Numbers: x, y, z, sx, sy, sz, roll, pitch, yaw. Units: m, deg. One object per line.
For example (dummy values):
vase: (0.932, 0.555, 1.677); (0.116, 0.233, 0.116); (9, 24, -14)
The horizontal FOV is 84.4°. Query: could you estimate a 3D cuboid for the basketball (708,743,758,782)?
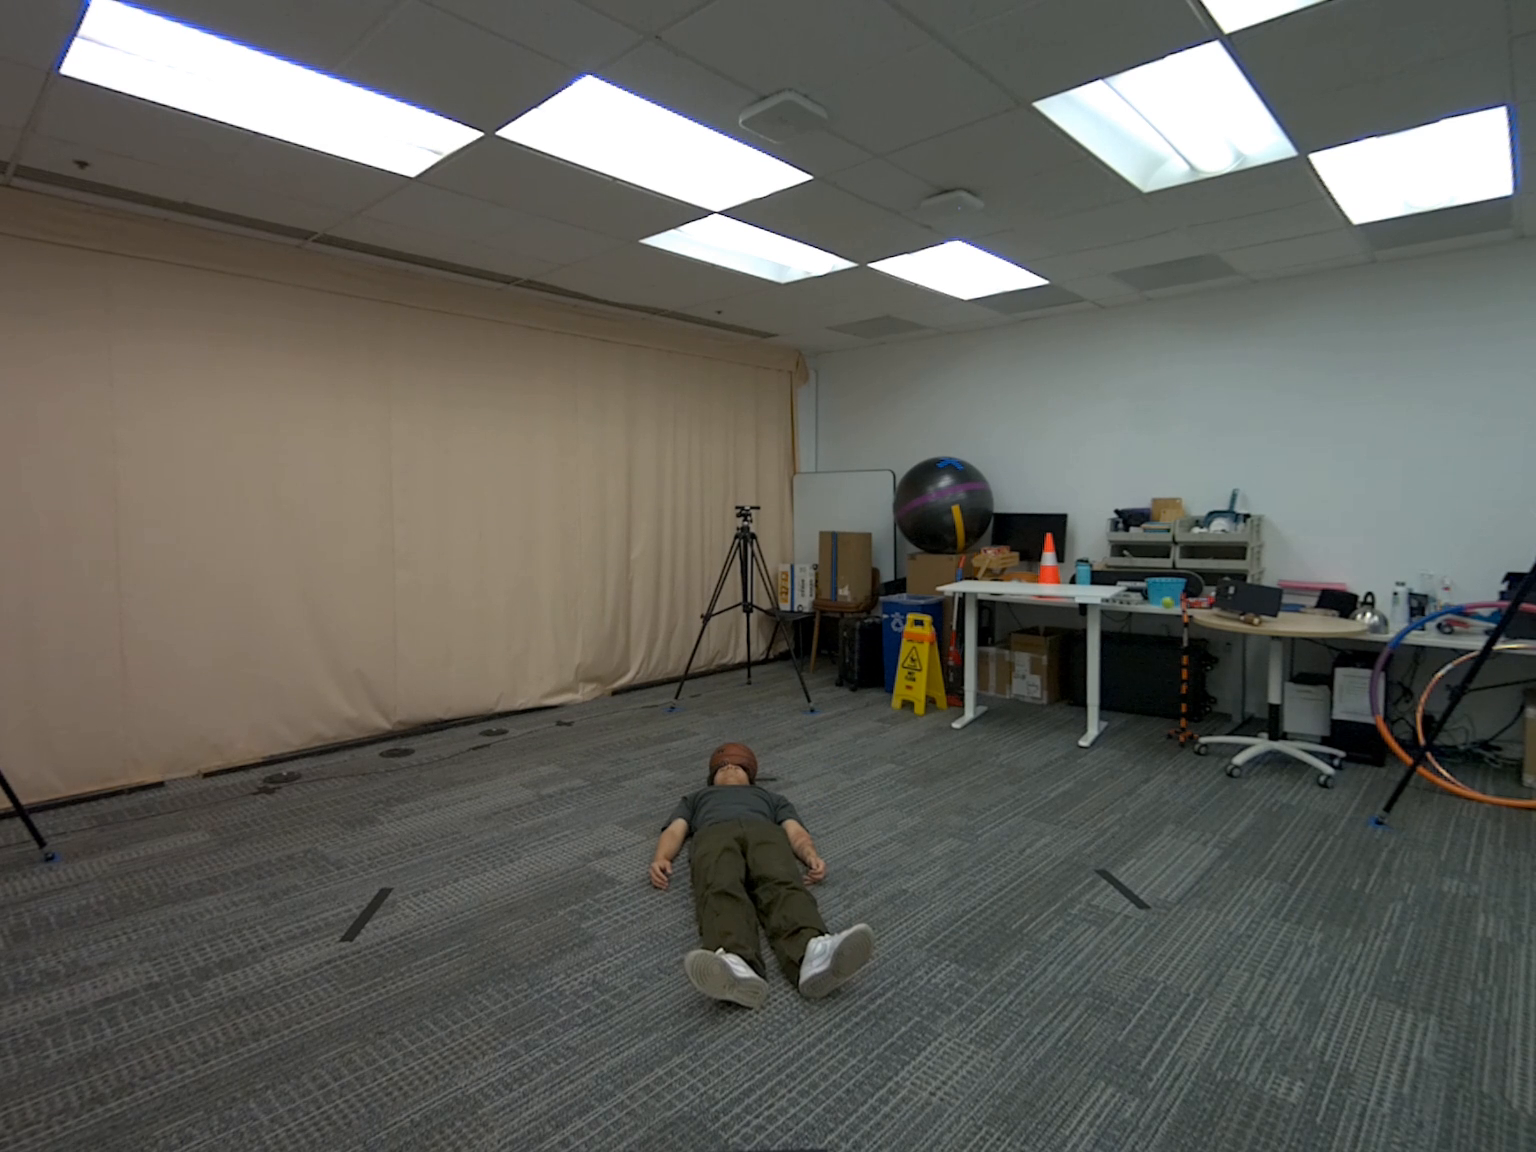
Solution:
basketball: (-0.172, 0.933, 4.126); (0.236, 0.235, 0.237); (0, 4, -2)
